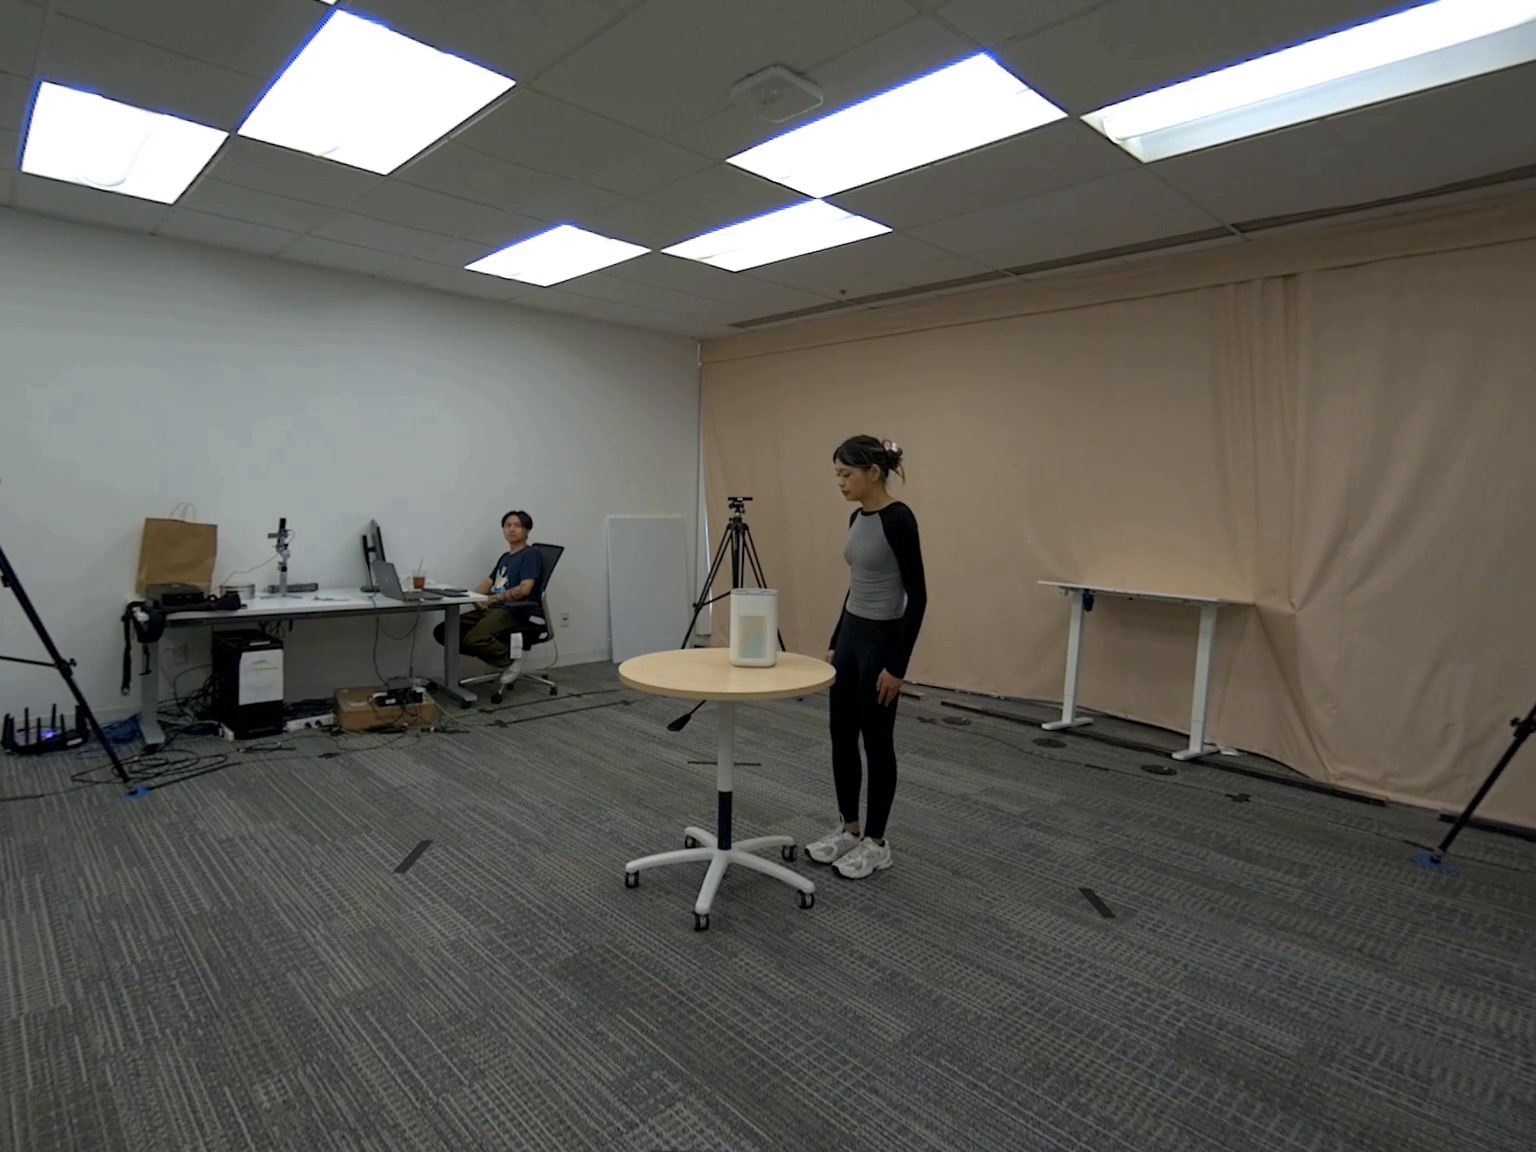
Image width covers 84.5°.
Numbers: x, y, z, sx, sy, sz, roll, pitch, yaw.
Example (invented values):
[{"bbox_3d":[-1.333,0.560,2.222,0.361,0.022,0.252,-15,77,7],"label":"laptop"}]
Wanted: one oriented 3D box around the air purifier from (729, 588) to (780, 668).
[{"bbox_3d":[-0.058,0.186,3.044,0.172,0.264,0.171,2,4,3],"label":"air purifier"}]
